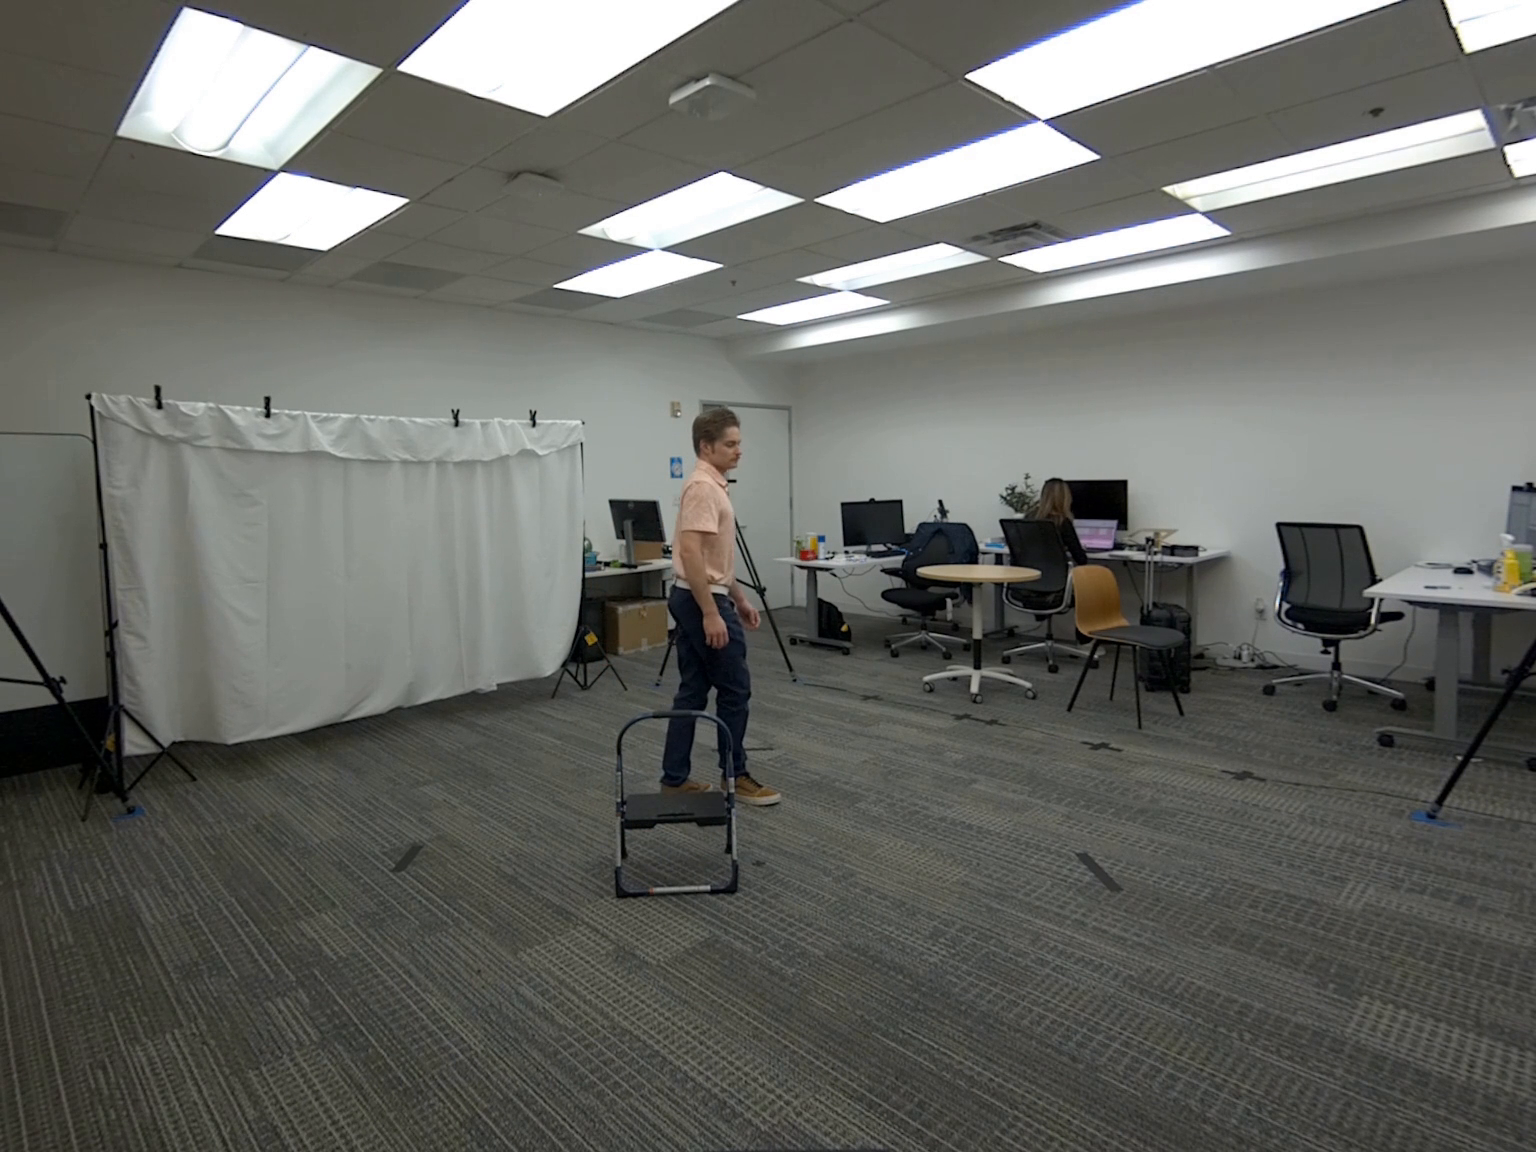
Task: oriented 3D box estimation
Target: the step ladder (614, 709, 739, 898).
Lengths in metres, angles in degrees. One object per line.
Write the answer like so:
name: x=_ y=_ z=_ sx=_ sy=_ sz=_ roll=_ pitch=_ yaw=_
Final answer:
step ladder: x=-0.333 y=0.762 z=3.025 sx=0.429 sy=0.603 sz=0.352 roll=-2 pitch=5 yaw=-5
